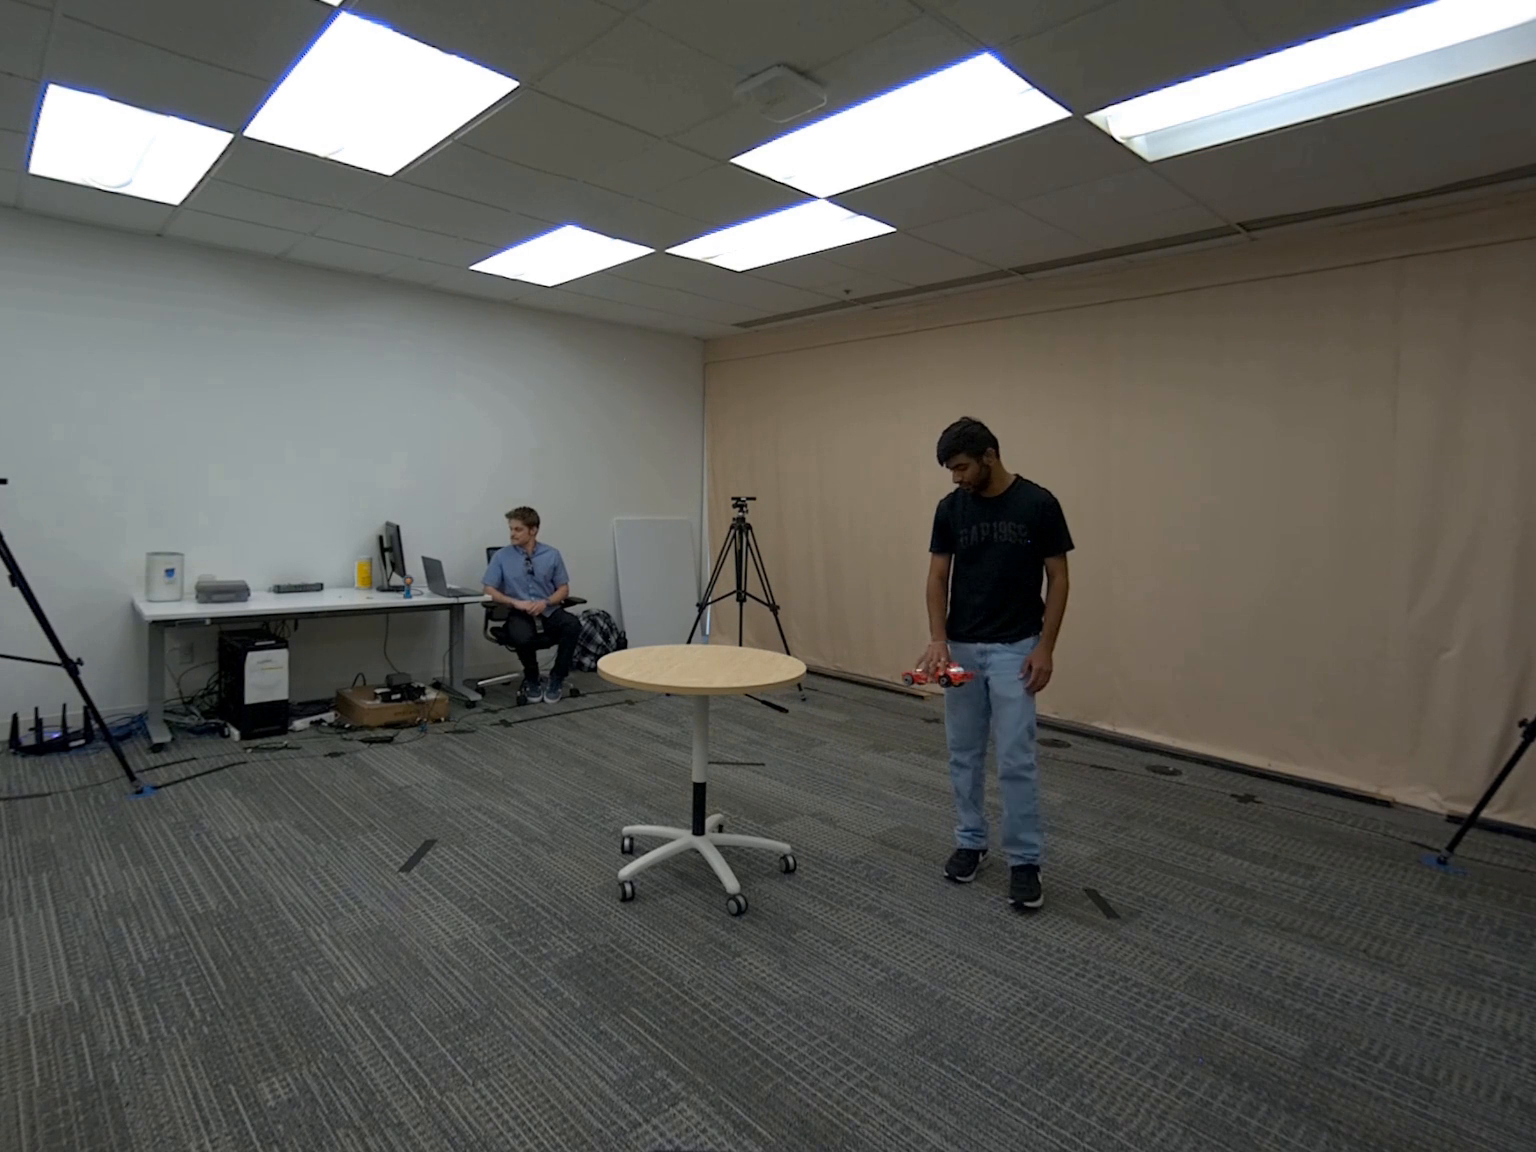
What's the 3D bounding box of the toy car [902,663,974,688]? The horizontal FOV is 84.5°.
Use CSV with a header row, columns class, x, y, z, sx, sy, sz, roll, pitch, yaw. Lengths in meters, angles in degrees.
class,x,y,z,sx,sy,sz,roll,pitch,yaw
toy car,0.614,0.367,2.996,0.259,0.084,0.127,-15,-15,40
